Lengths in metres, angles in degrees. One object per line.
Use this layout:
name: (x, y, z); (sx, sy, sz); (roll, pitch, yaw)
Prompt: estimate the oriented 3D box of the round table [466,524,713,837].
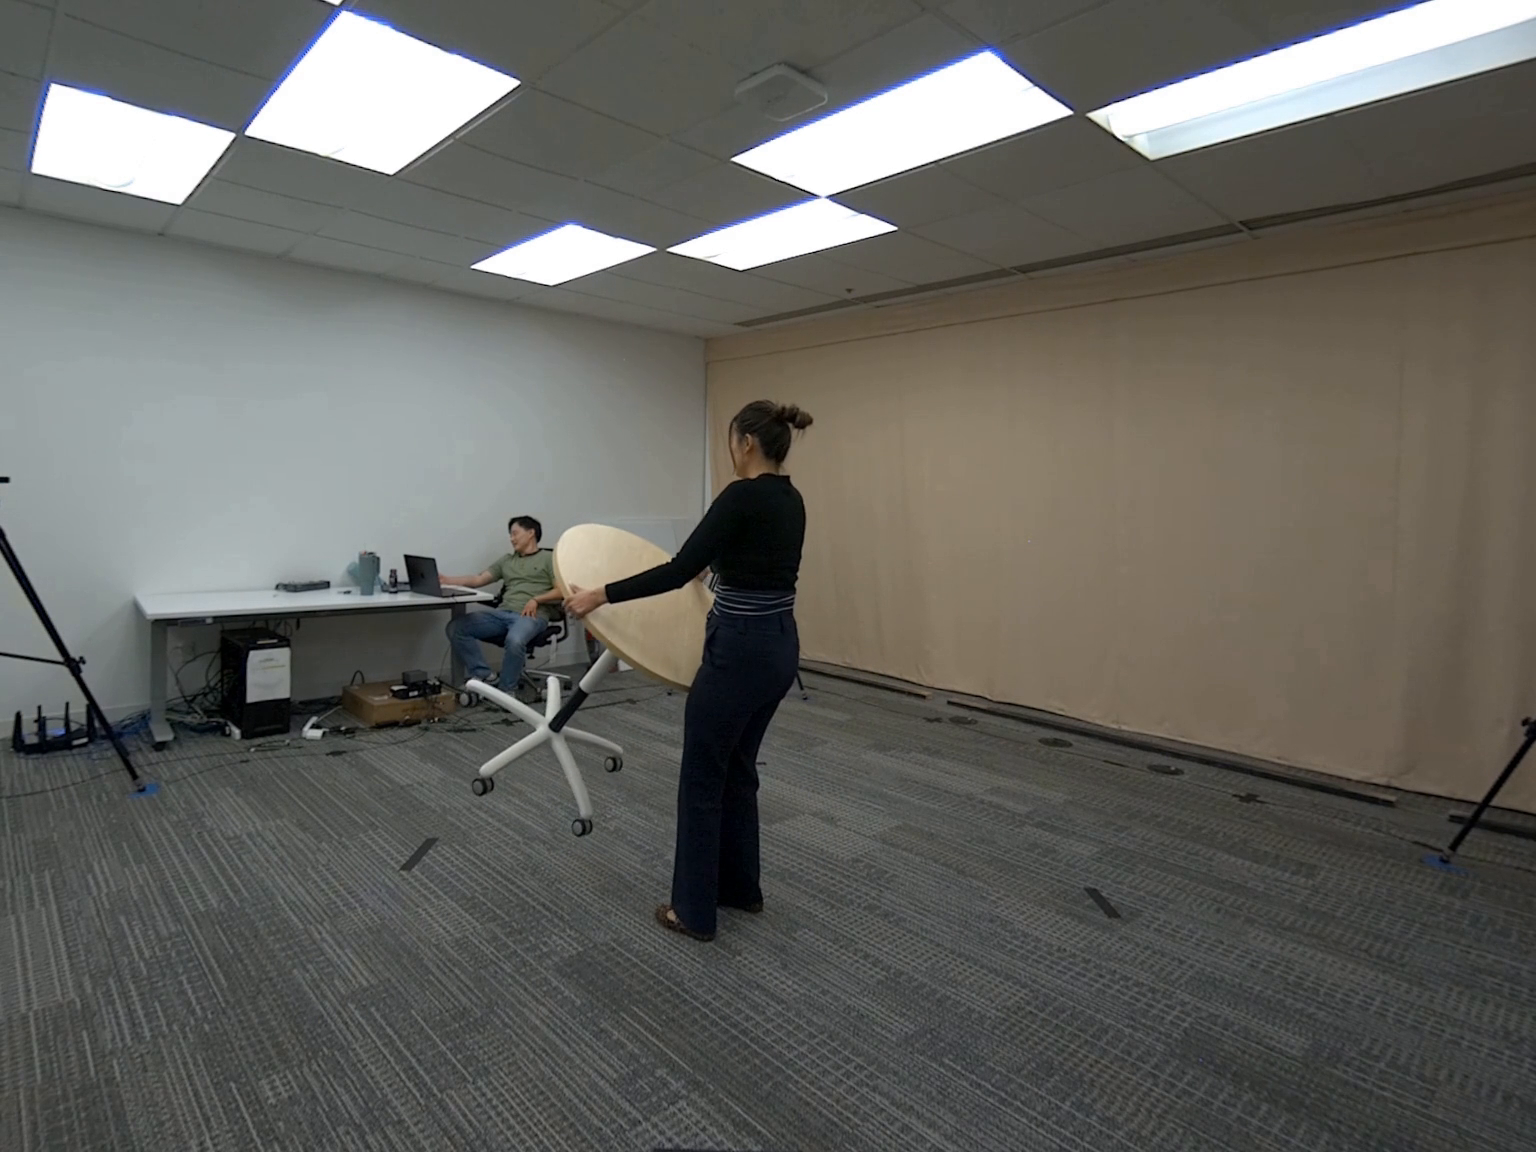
round table: (-0.630, 0.374, 2.983); (0.752, 0.793, 0.777); (34, 21, -16)
